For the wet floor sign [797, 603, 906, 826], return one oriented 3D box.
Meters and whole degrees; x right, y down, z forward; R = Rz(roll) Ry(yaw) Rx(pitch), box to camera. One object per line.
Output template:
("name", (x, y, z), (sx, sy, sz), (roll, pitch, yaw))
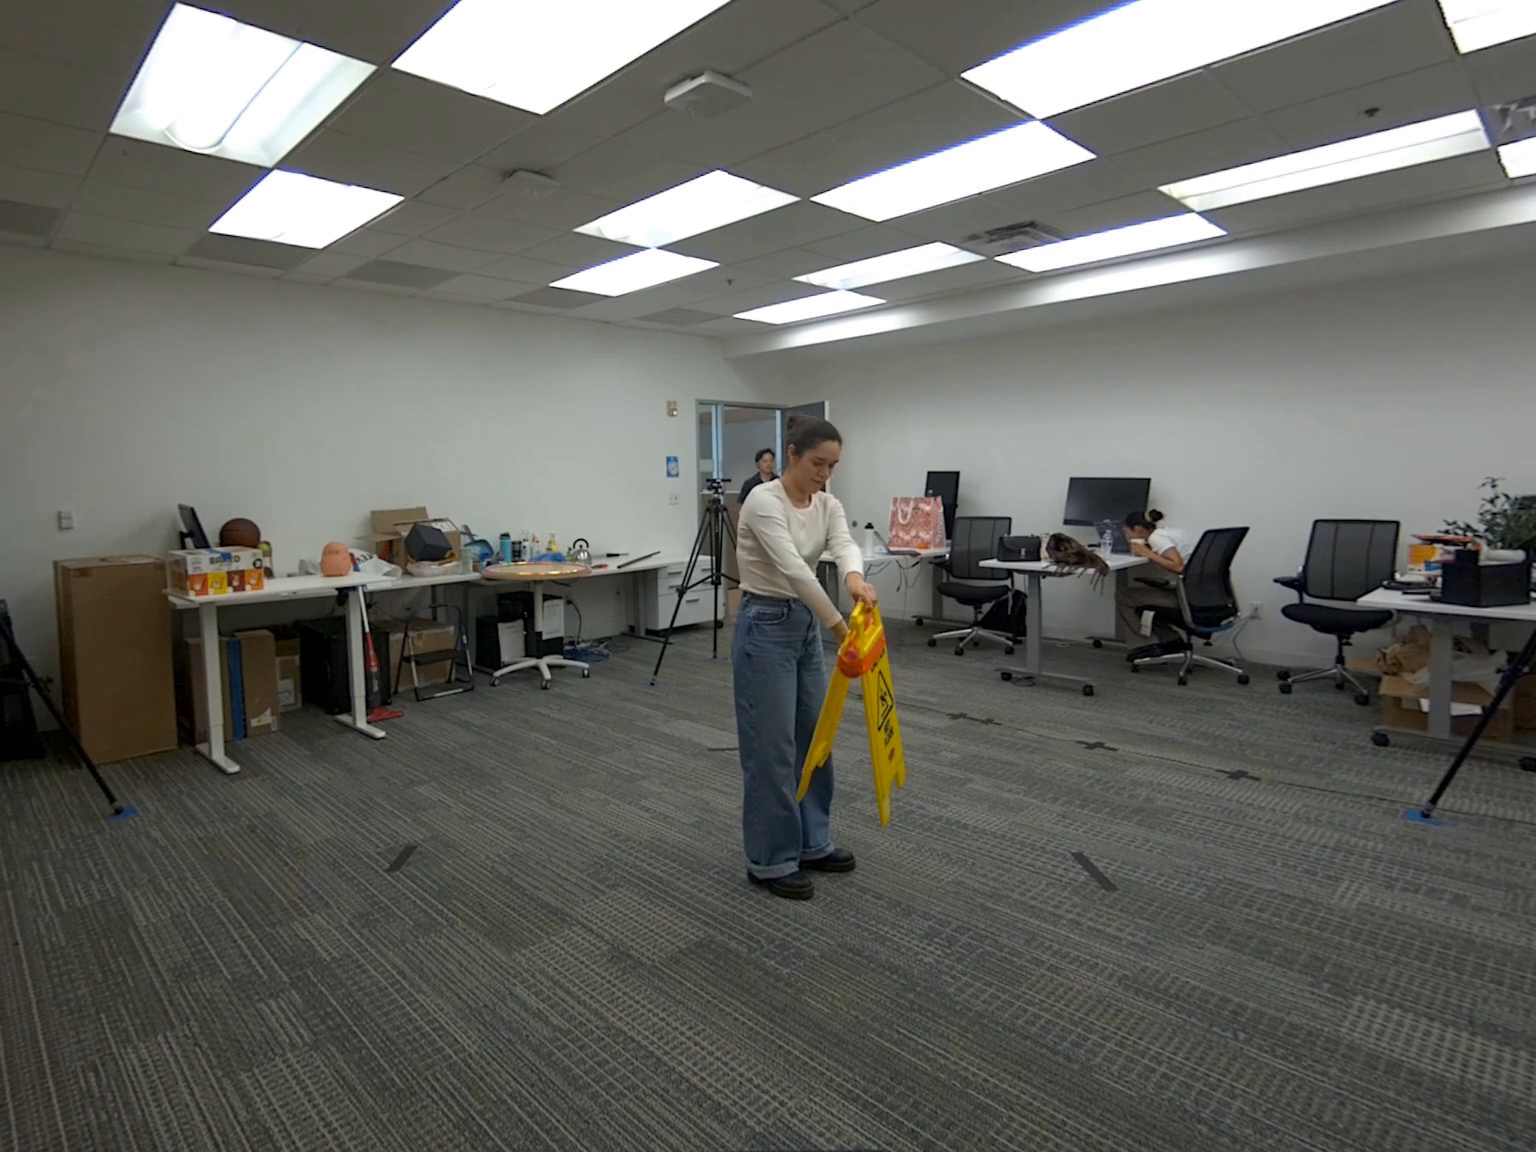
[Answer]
("wet floor sign", (0.282, 0.374, 2.591), (0.297, 0.635, 0.280), (10, 23, 23))
